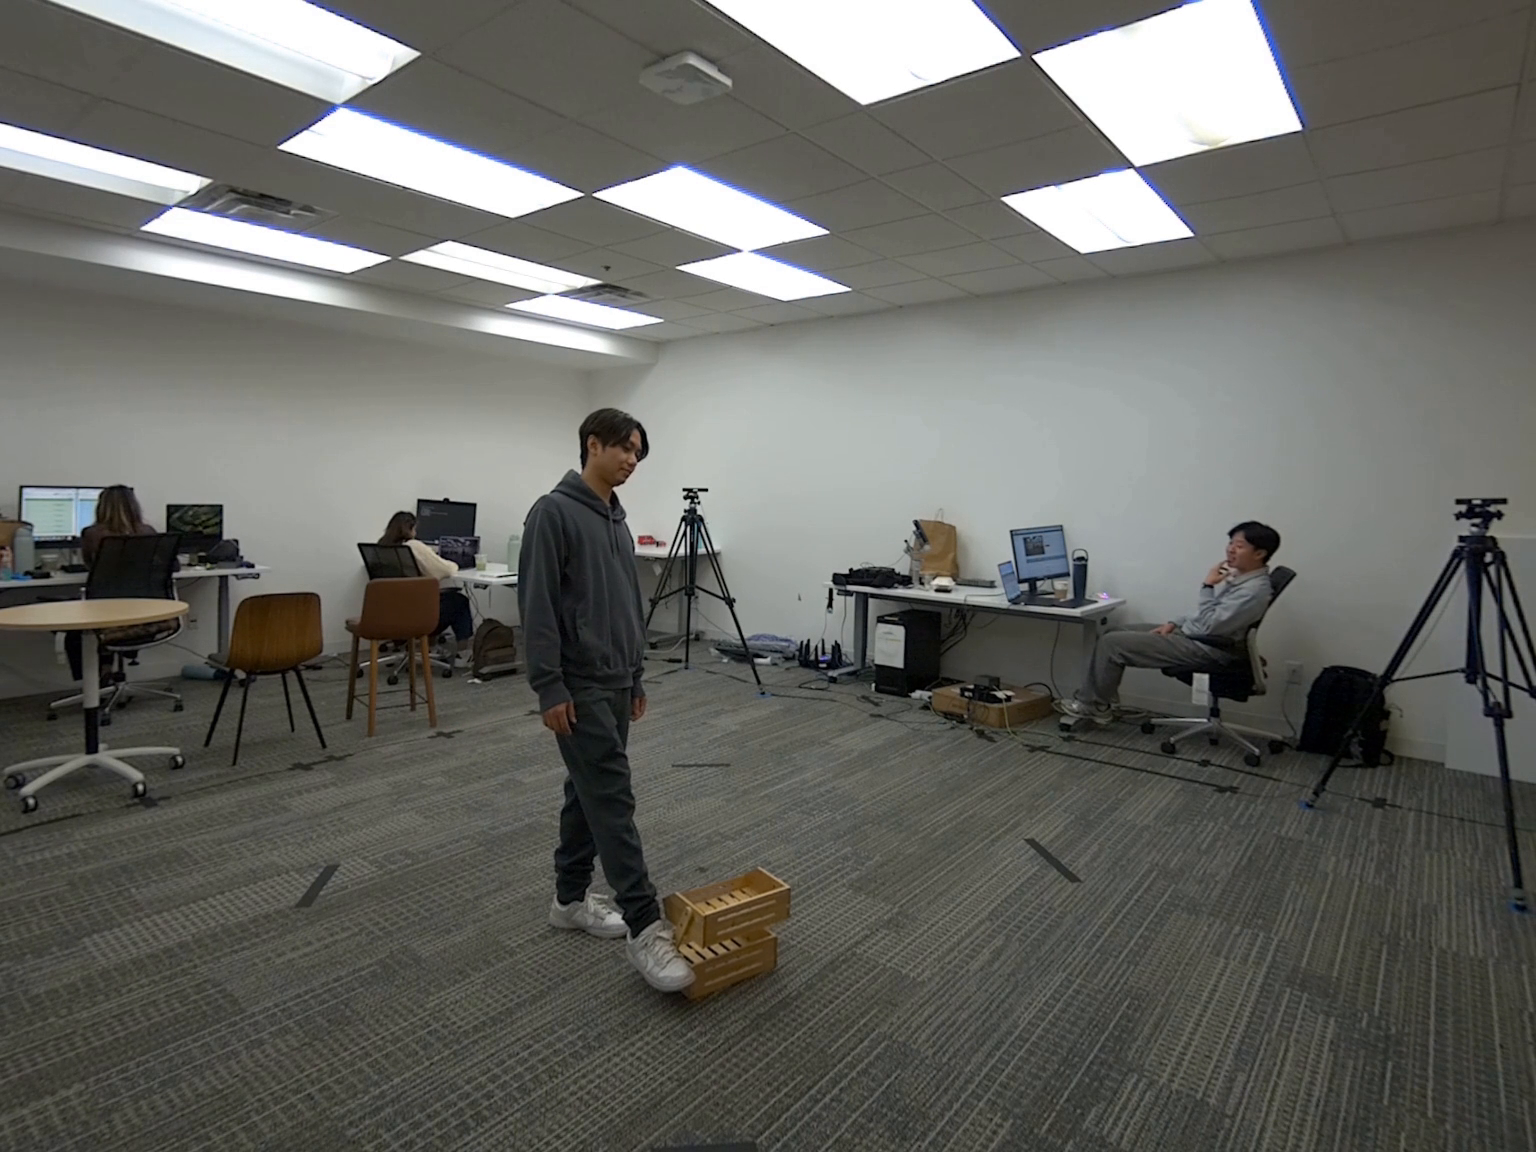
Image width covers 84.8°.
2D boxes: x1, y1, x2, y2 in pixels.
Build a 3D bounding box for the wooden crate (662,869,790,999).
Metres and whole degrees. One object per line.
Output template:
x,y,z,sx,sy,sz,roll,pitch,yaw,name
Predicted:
-0.158,0.999,2.466,0.315,0.272,0.312,-2,7,-37,wooden crate
